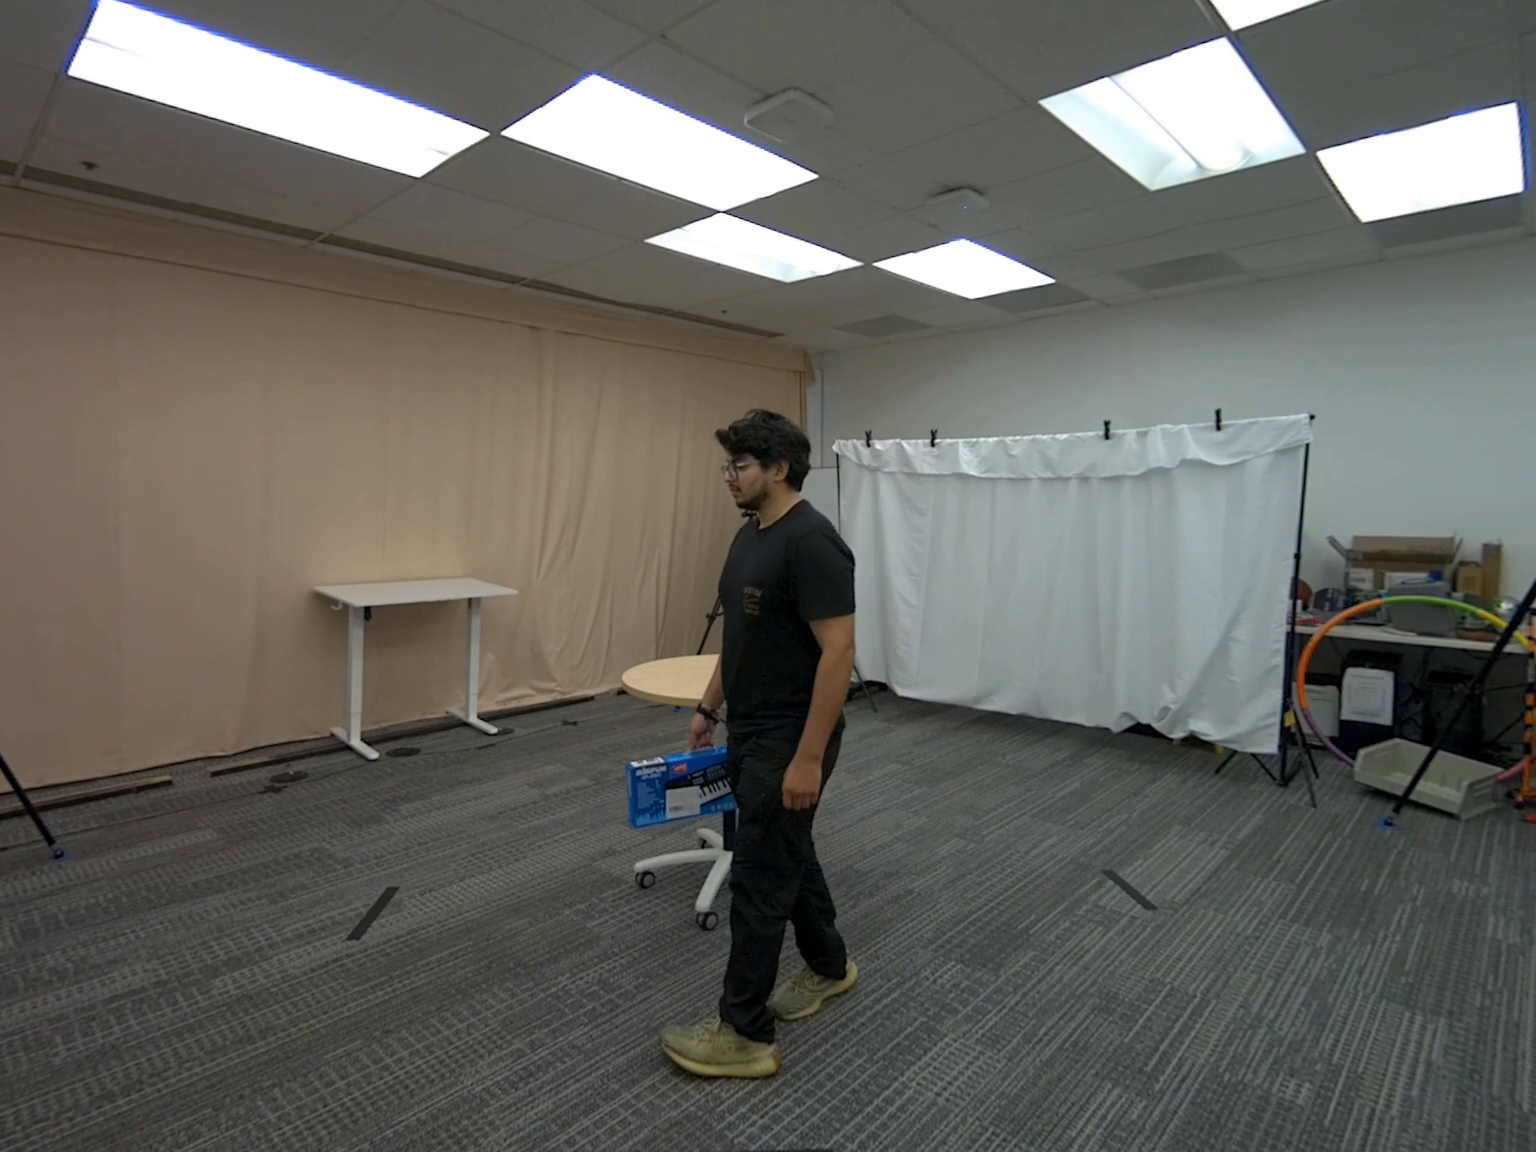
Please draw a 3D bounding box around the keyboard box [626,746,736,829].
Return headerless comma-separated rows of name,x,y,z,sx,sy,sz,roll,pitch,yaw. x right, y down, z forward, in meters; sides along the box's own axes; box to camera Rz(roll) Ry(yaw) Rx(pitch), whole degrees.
keyboard box,-0.184,0.592,2.432,0.428,0.175,0.060,-4,4,-22
